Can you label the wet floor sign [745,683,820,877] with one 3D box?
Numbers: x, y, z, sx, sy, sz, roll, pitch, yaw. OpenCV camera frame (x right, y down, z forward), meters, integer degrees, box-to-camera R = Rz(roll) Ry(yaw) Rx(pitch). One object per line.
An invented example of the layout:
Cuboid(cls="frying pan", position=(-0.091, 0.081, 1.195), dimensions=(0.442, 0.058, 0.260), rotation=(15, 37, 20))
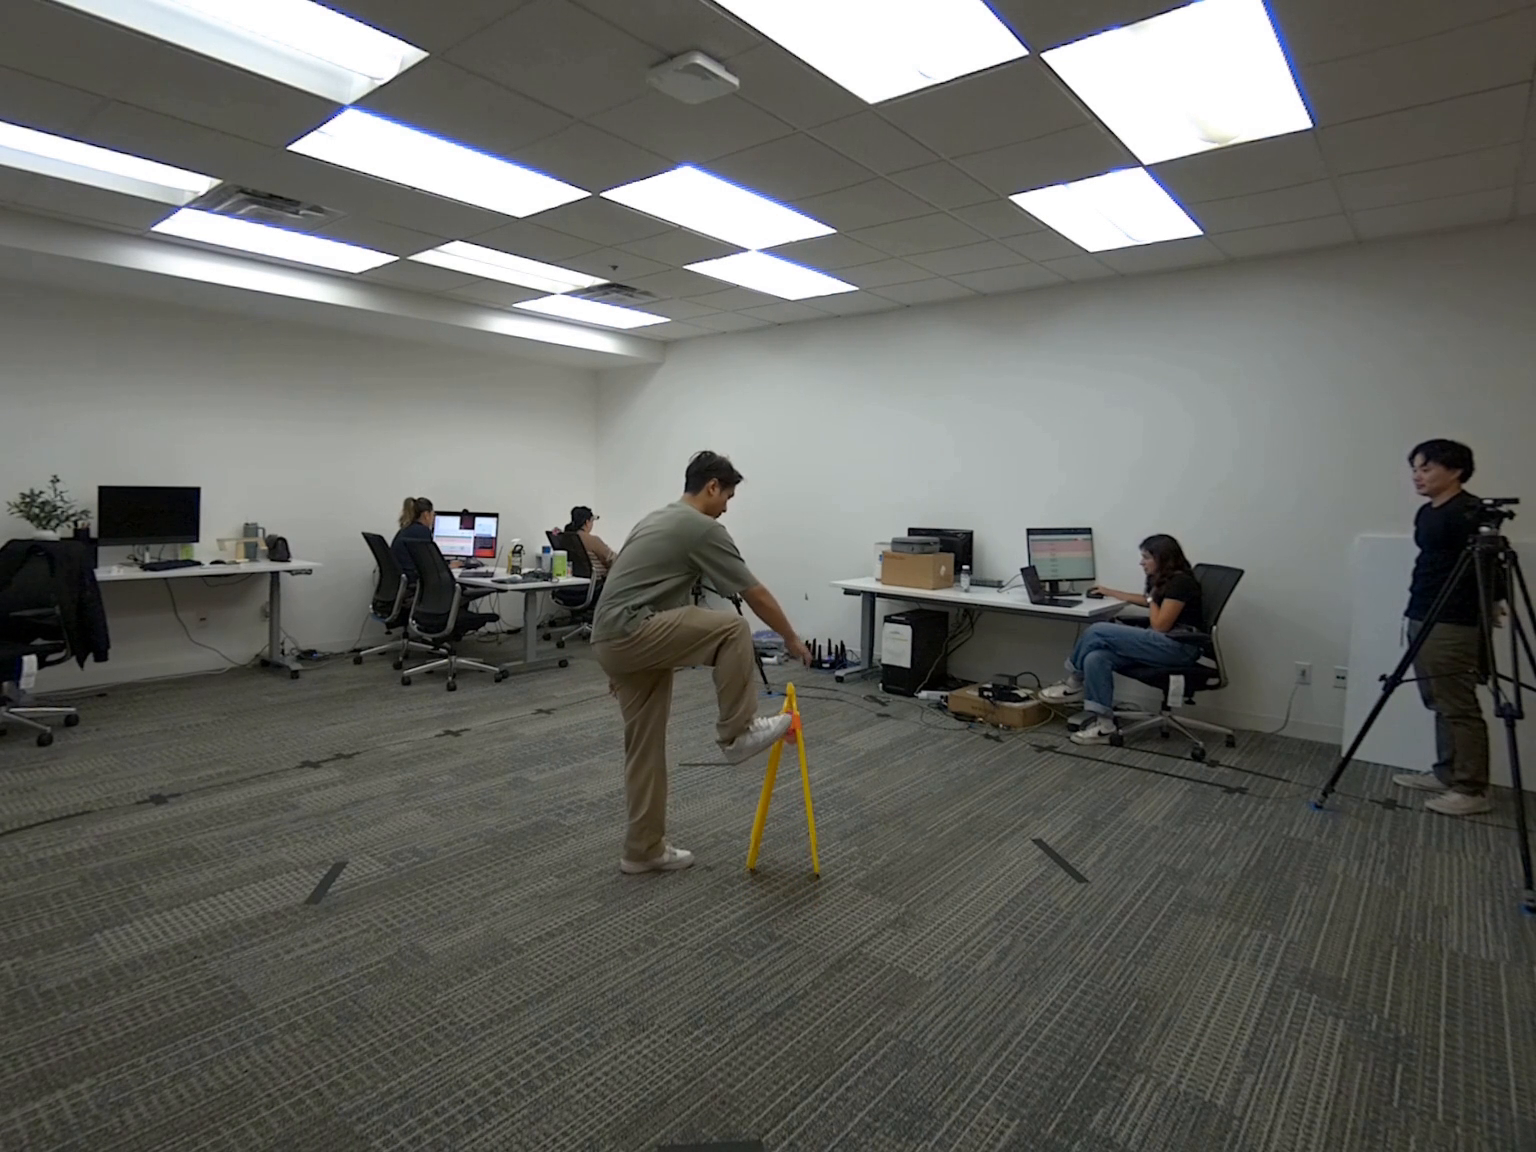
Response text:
Cuboid(cls="wet floor sign", position=(0.070, 0.731, 3.099), dimensions=(0.292, 0.656, 0.276), rotation=(3, -18, 6))
